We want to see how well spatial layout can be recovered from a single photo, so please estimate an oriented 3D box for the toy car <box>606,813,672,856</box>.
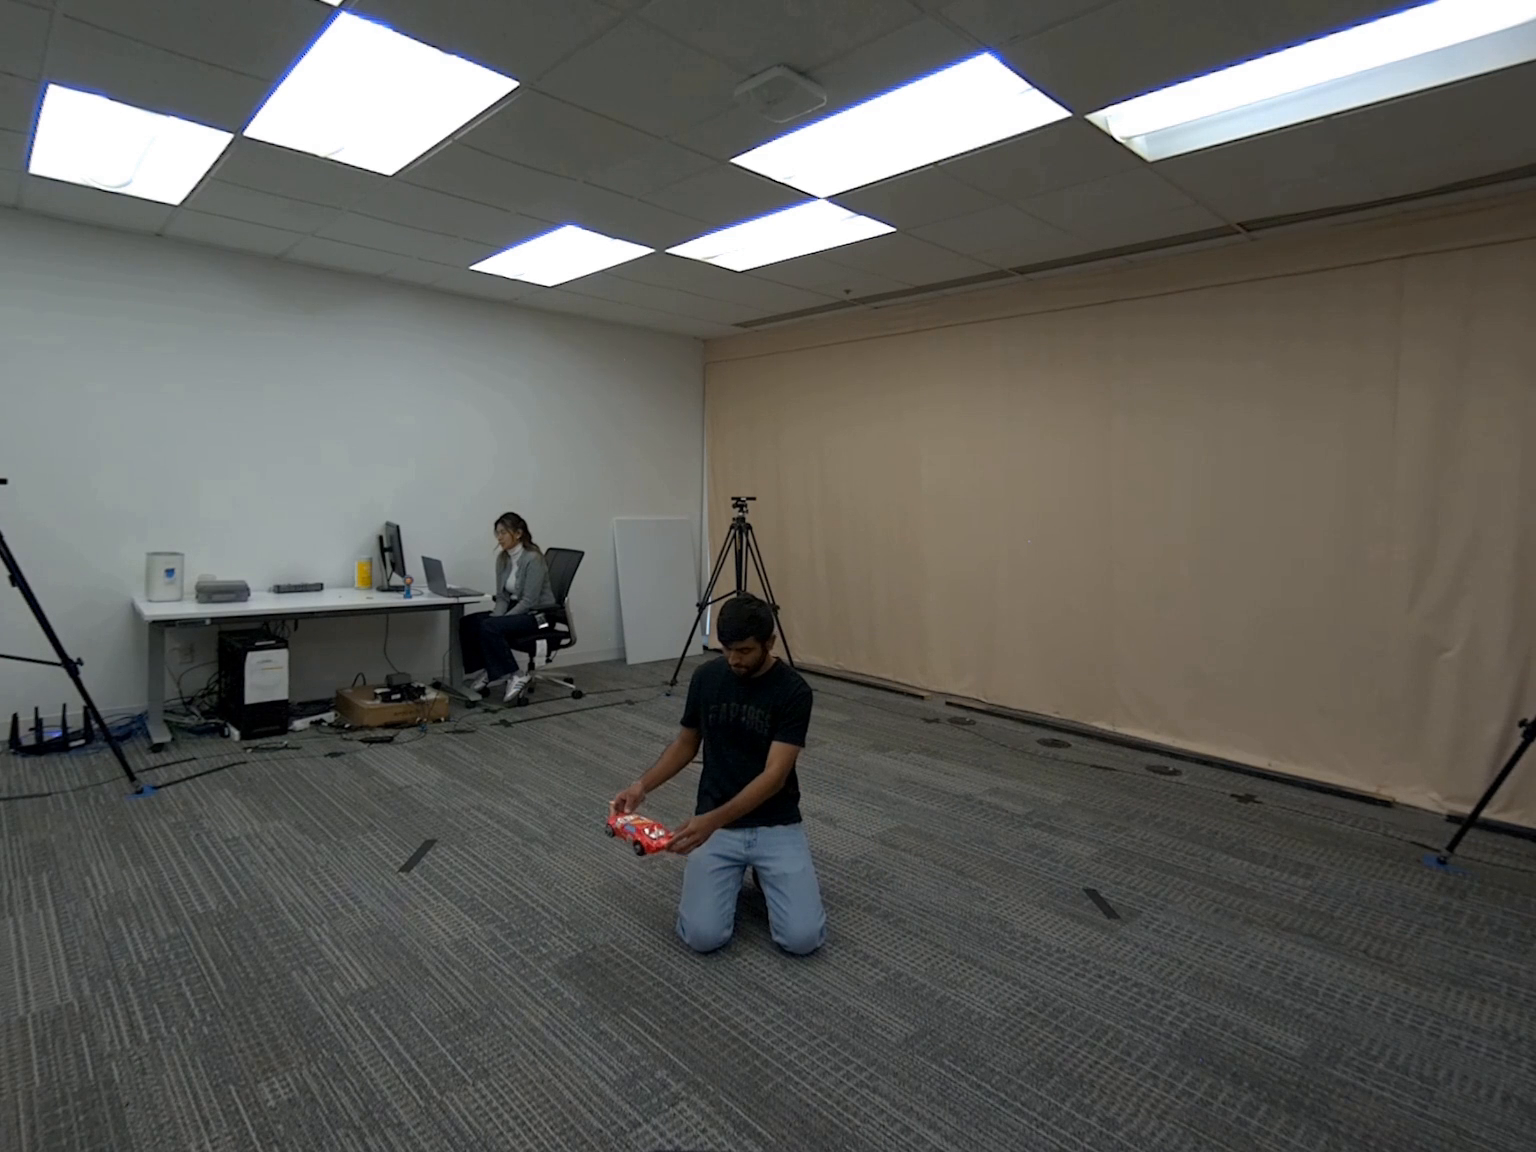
[{"bbox_3d":[-0.392,0.795,2.595,0.127,0.083,0.260,-9,5,-44],"label":"toy car"}]
